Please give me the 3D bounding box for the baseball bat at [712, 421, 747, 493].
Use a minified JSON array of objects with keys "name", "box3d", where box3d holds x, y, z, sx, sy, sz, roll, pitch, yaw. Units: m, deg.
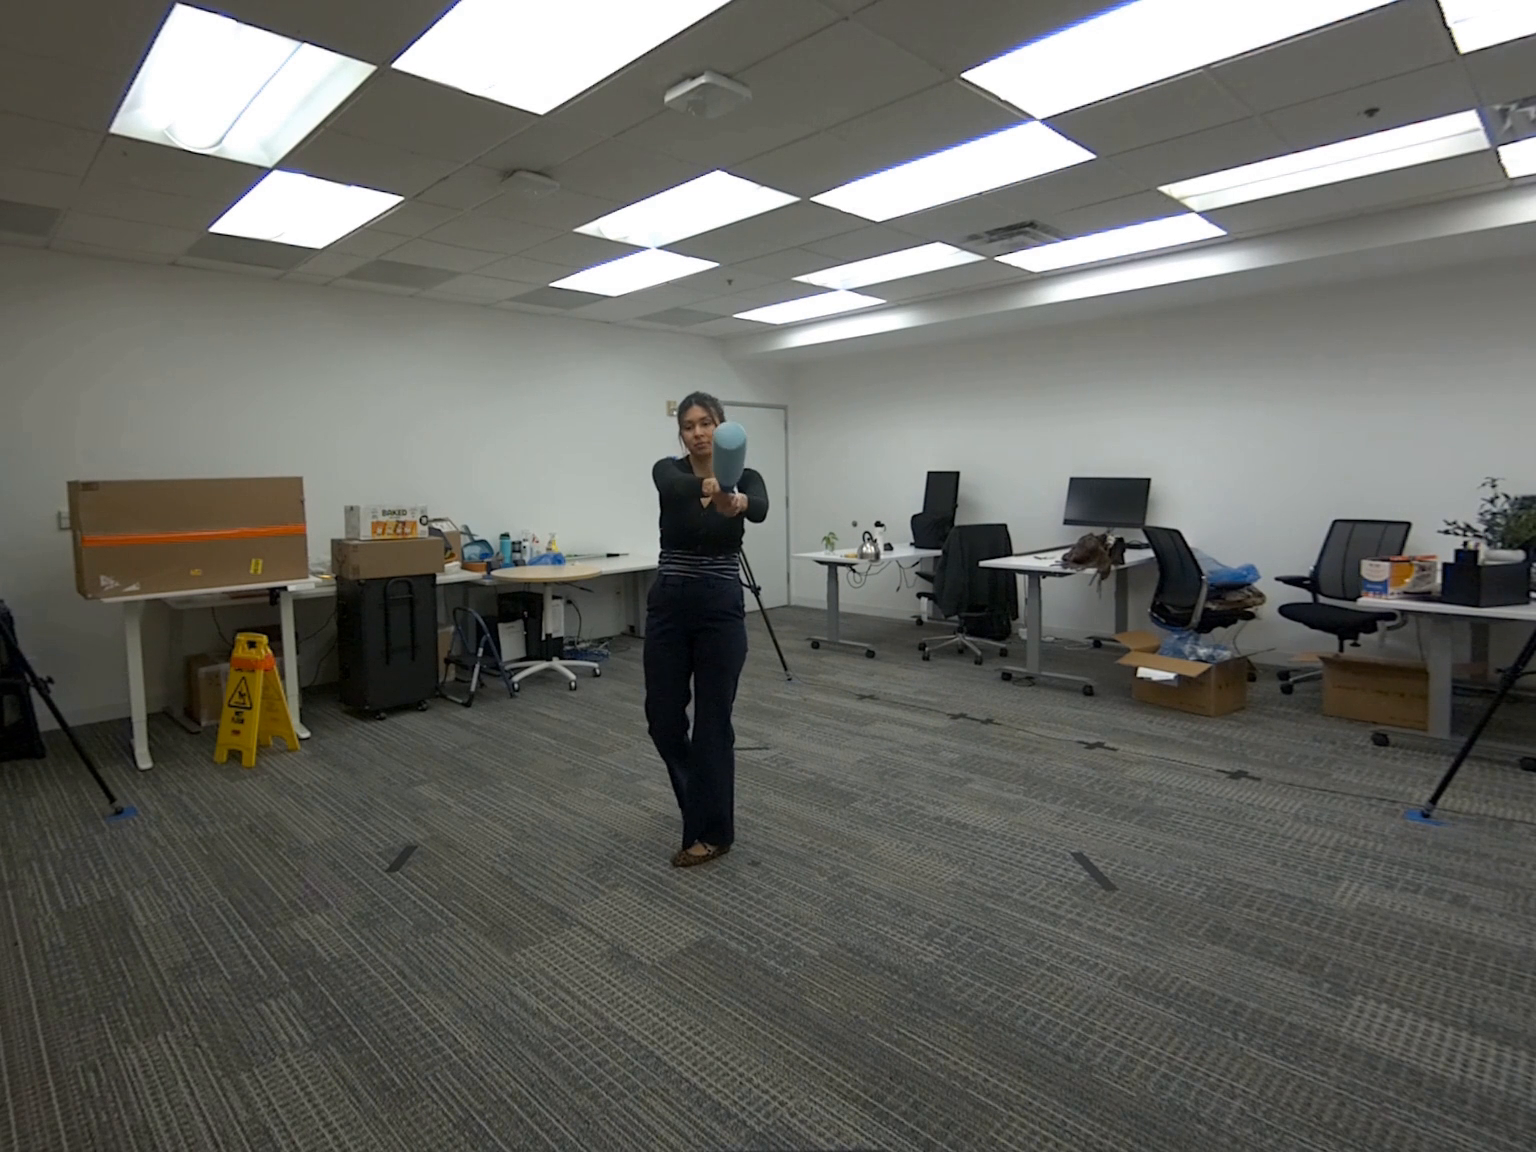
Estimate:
[{"name":"baseball bat","box3d":[-0.117,-0.255,2.357,0.089,0.090,0.535,-1,-18,-3]}]
